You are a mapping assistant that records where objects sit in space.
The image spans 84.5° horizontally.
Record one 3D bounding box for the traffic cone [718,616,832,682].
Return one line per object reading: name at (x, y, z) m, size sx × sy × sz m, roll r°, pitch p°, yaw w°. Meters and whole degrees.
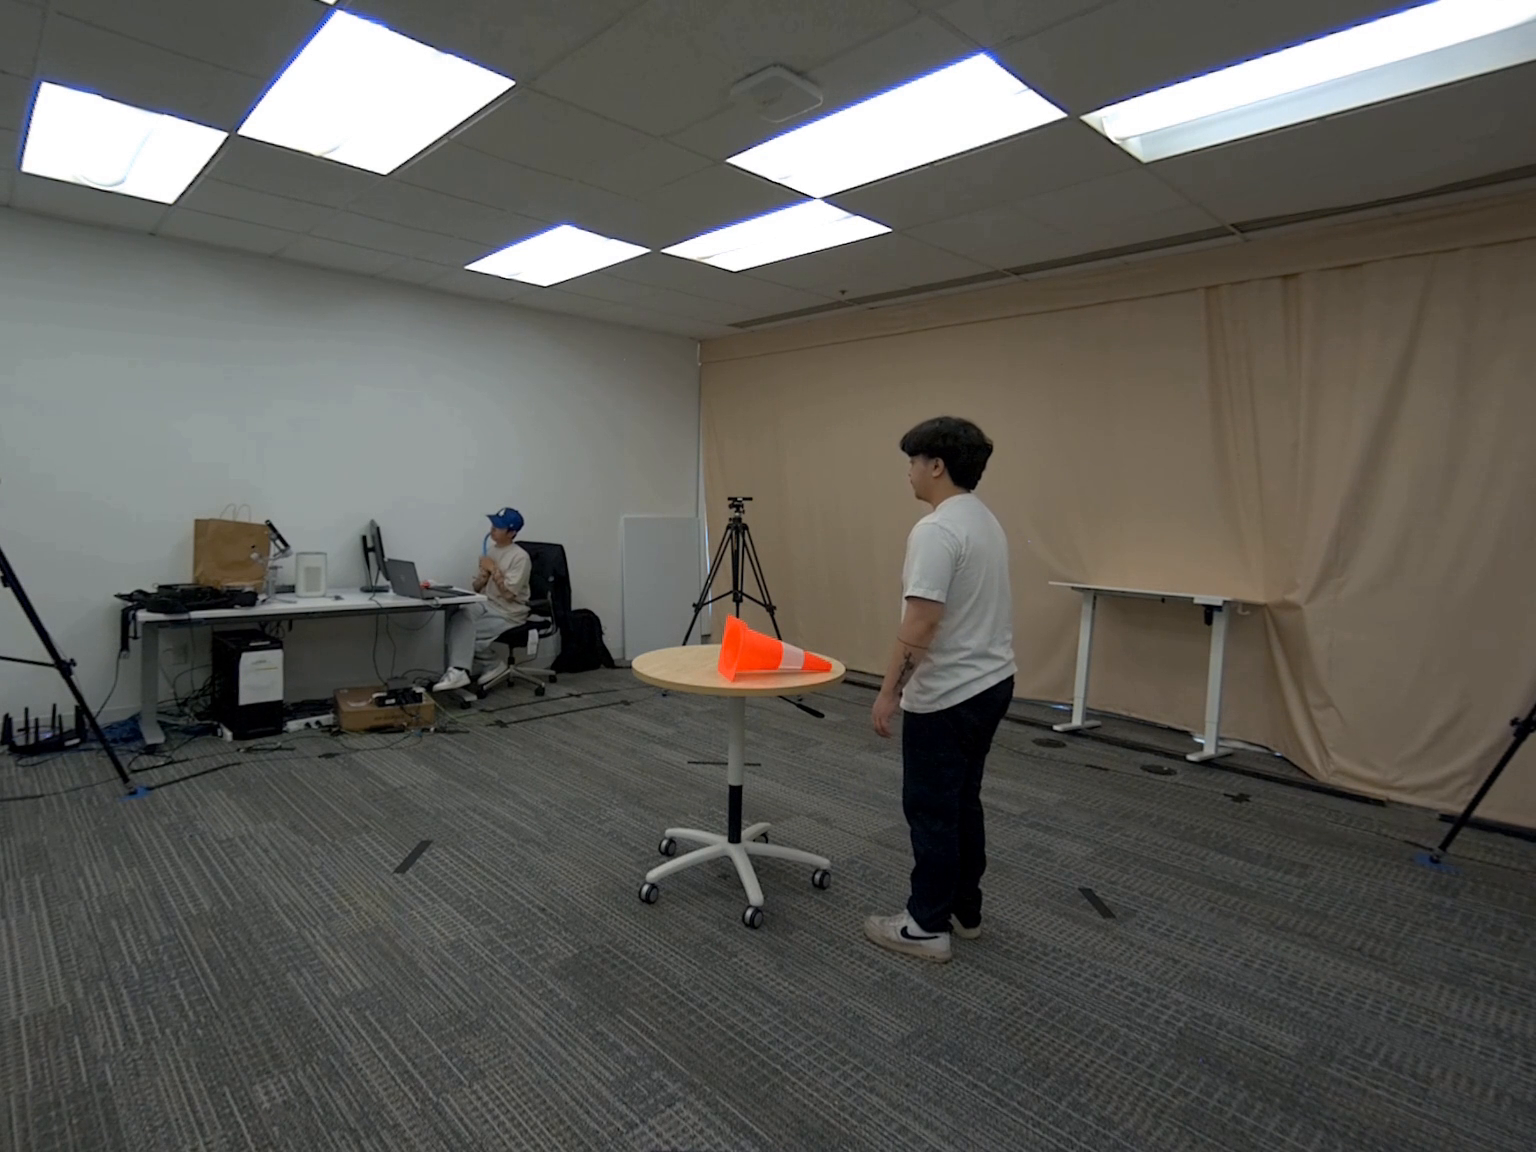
traffic cone at (0.047, 0.282, 2.888) m, size 0.377 × 0.204 × 0.208 m, roll 14°, pitch -5°, yaw -20°
